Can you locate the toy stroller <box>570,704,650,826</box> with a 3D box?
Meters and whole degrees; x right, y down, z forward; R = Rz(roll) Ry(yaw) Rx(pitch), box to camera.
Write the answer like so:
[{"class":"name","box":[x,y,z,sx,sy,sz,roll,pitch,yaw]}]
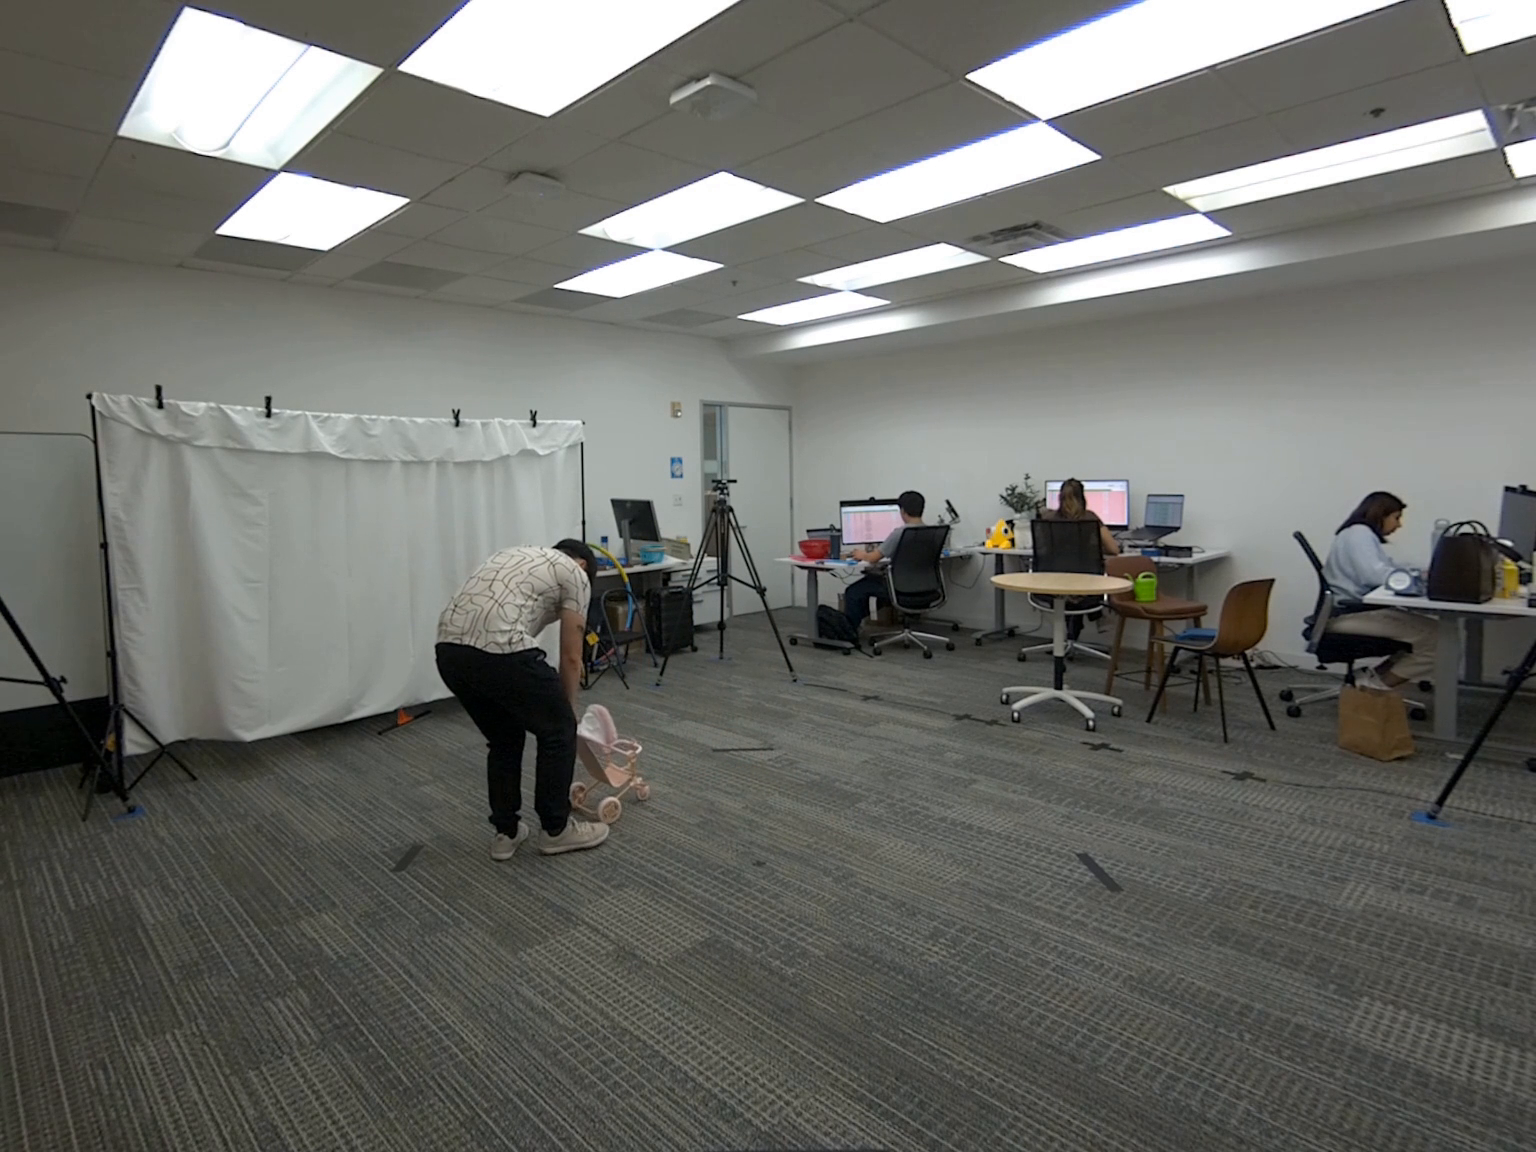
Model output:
[{"class":"toy stroller","box":[-0.695,0.778,3.624,0.336,0.527,0.290,-24,16,-35]}]
